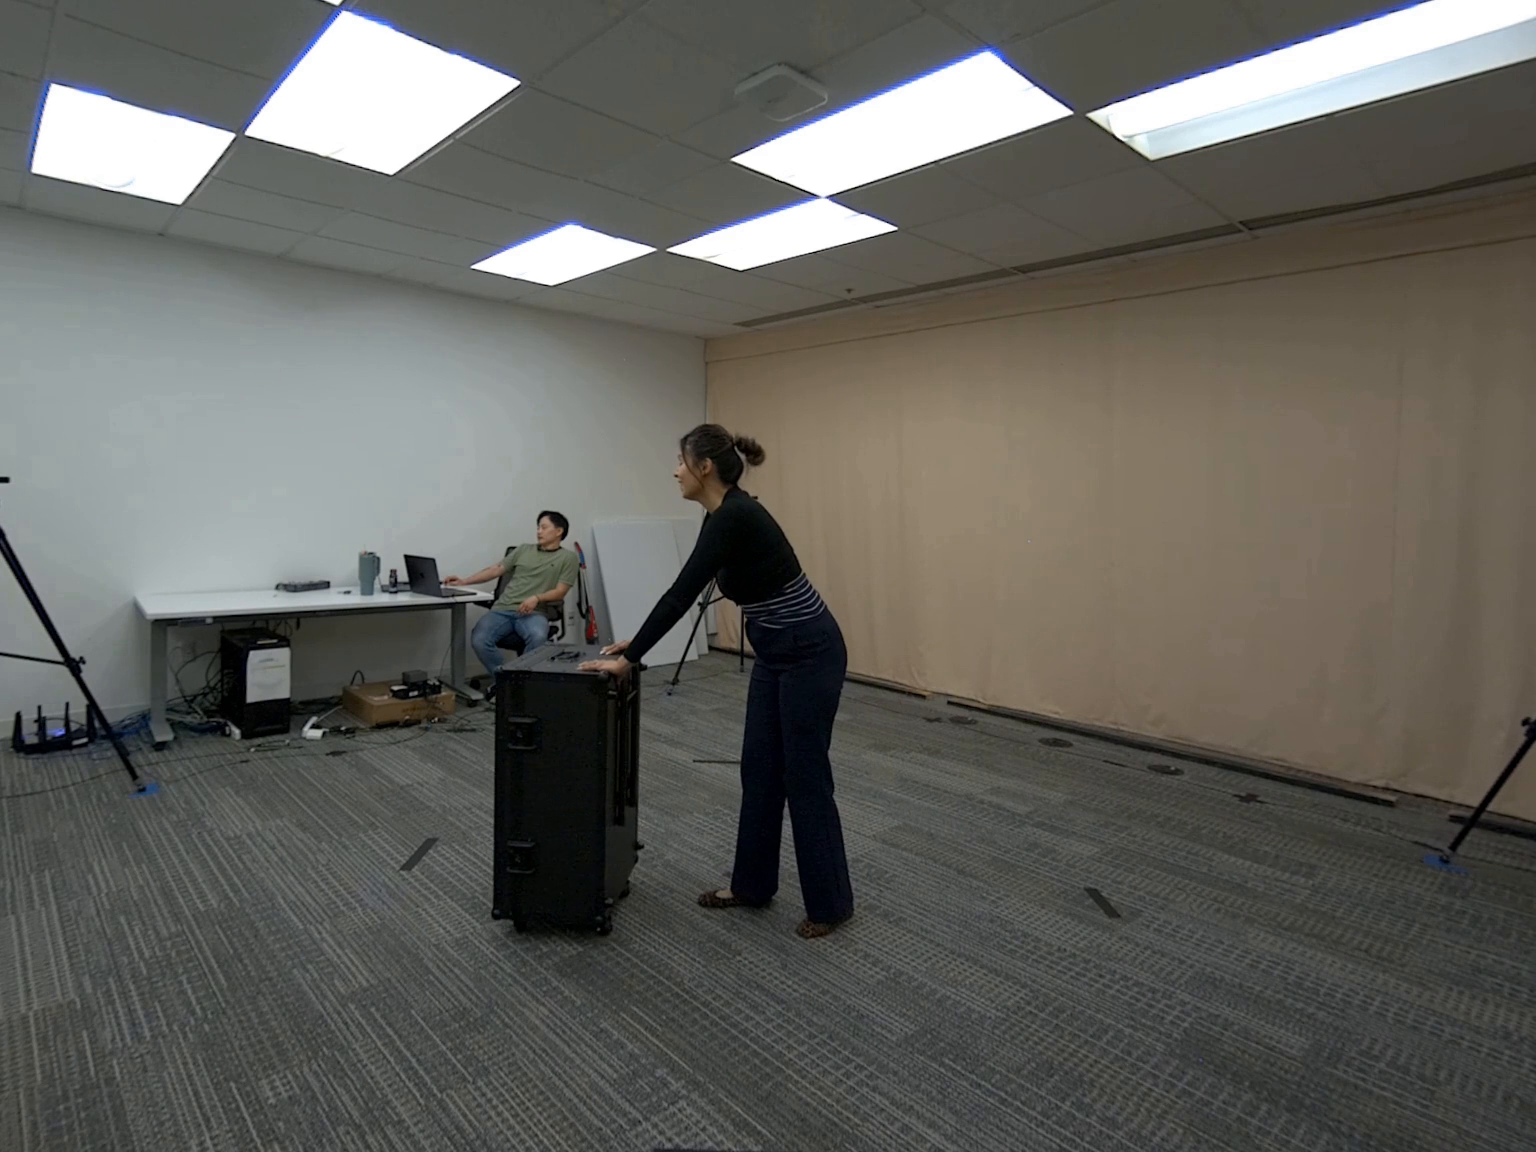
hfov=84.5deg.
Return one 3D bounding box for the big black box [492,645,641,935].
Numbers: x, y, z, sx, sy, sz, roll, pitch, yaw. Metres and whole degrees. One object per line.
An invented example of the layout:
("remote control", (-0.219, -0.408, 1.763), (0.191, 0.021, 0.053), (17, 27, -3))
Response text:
("big black box", (-0.646, 0.694, 2.806), (0.398, 0.860, 0.520), (3, 2, 4))
